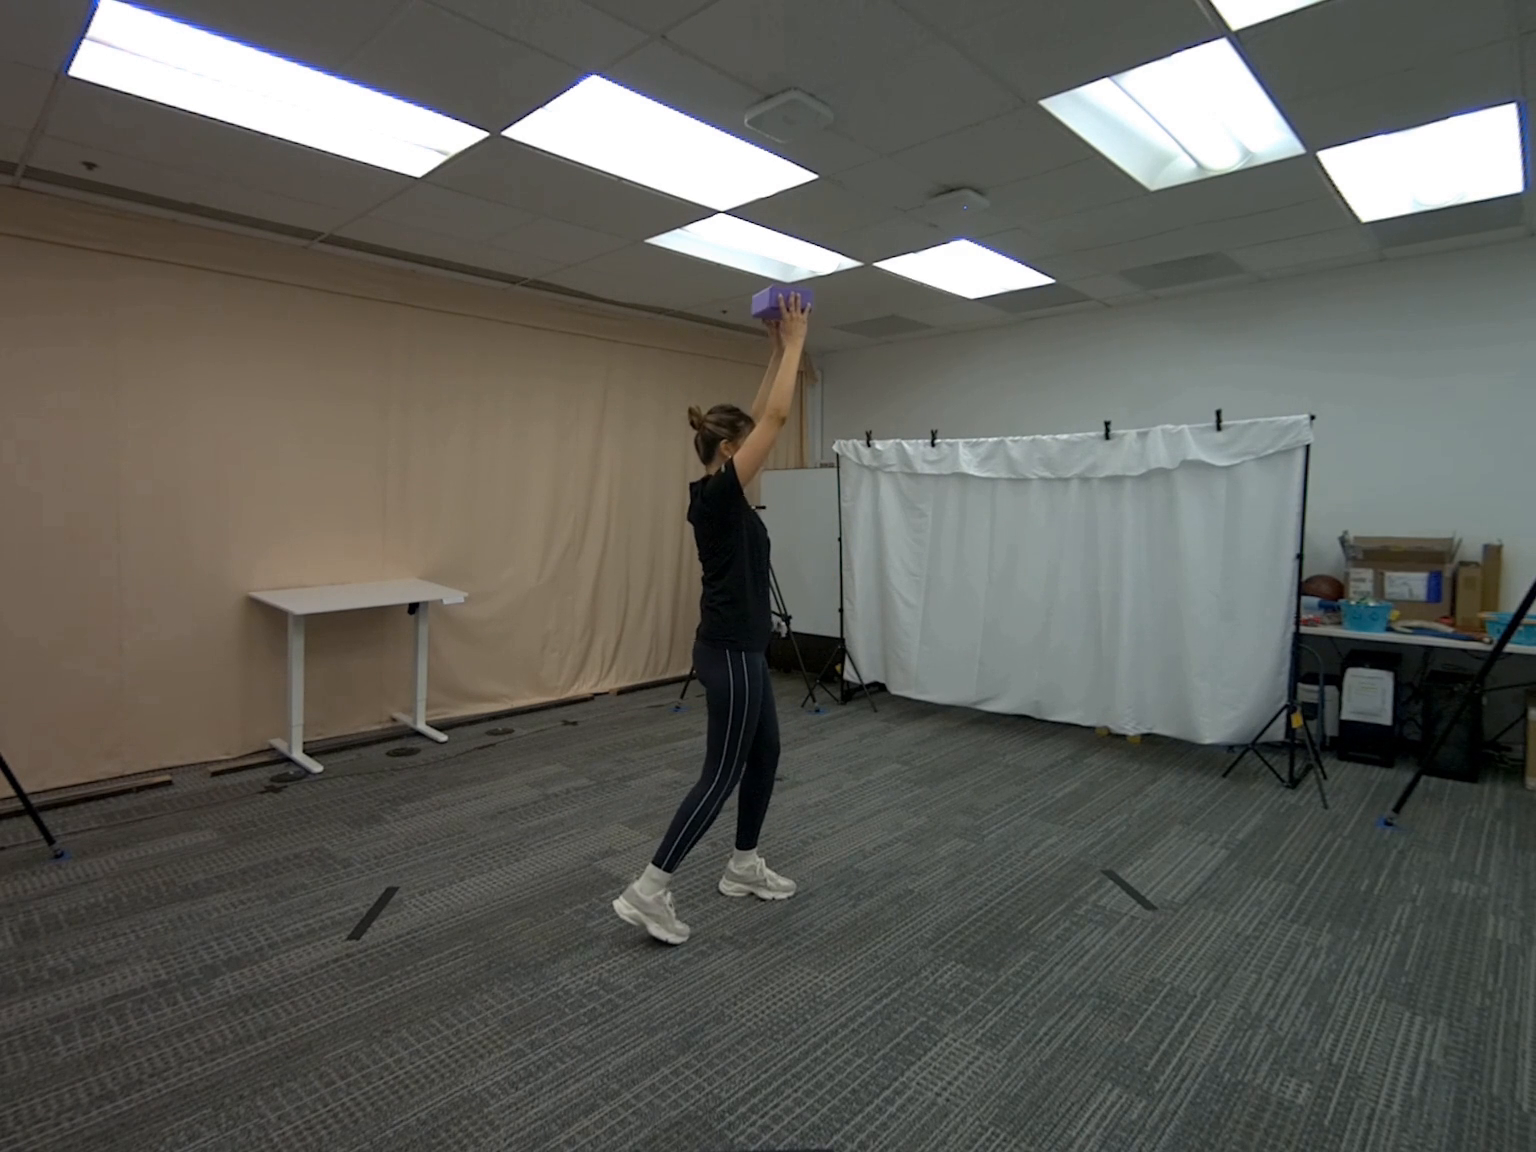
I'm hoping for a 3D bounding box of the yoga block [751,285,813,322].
[{"bbox_3d":[0.047,-0.915,2.823,0.147,0.076,0.234,1,9,-15],"label":"yoga block"}]
